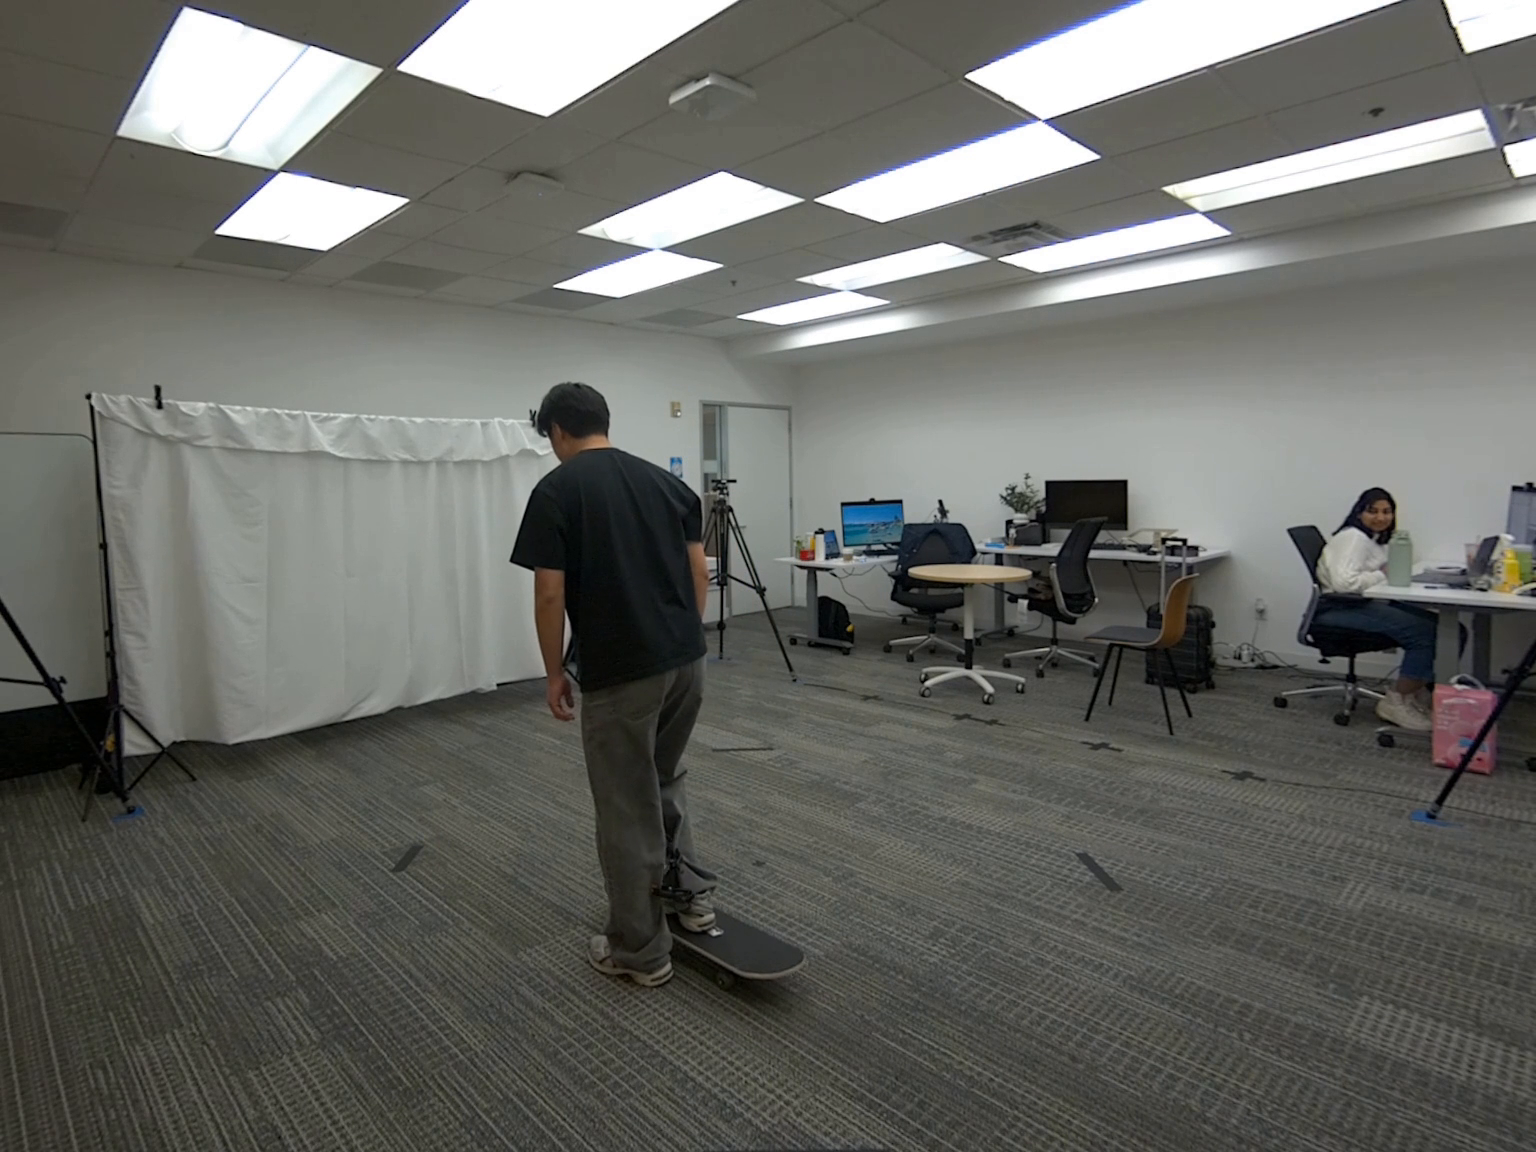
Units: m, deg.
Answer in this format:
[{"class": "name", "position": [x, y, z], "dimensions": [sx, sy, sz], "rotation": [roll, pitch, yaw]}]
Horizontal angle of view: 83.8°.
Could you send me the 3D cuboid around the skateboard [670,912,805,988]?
[{"class": "skateboard", "position": [-0.210, 1.069, 2.551], "dimensions": [0.810, 0.110, 0.188], "rotation": [6, 9, 43]}]
